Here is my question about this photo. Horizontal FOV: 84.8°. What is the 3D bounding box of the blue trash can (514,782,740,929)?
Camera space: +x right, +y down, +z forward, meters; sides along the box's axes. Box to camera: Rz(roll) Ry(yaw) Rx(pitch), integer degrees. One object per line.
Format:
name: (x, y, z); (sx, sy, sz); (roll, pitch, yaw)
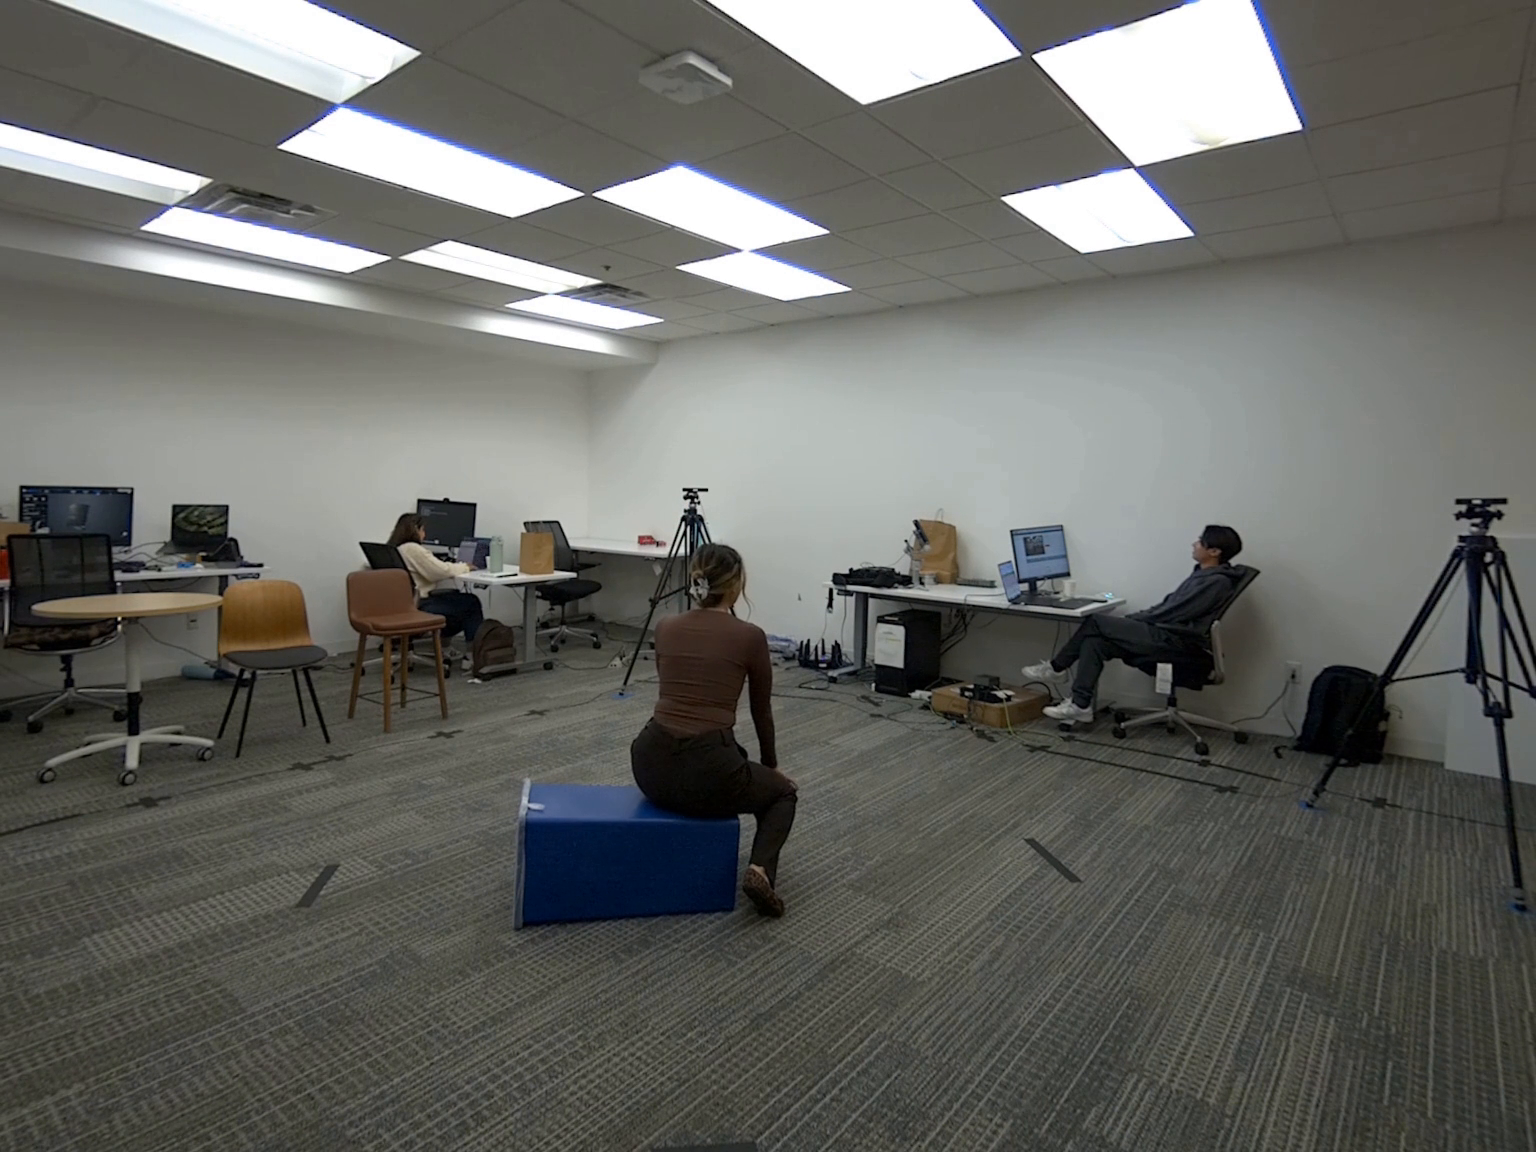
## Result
blue trash can: (-0.499, 0.920, 2.887); (0.705, 0.377, 0.380); (3, 3, -12)
